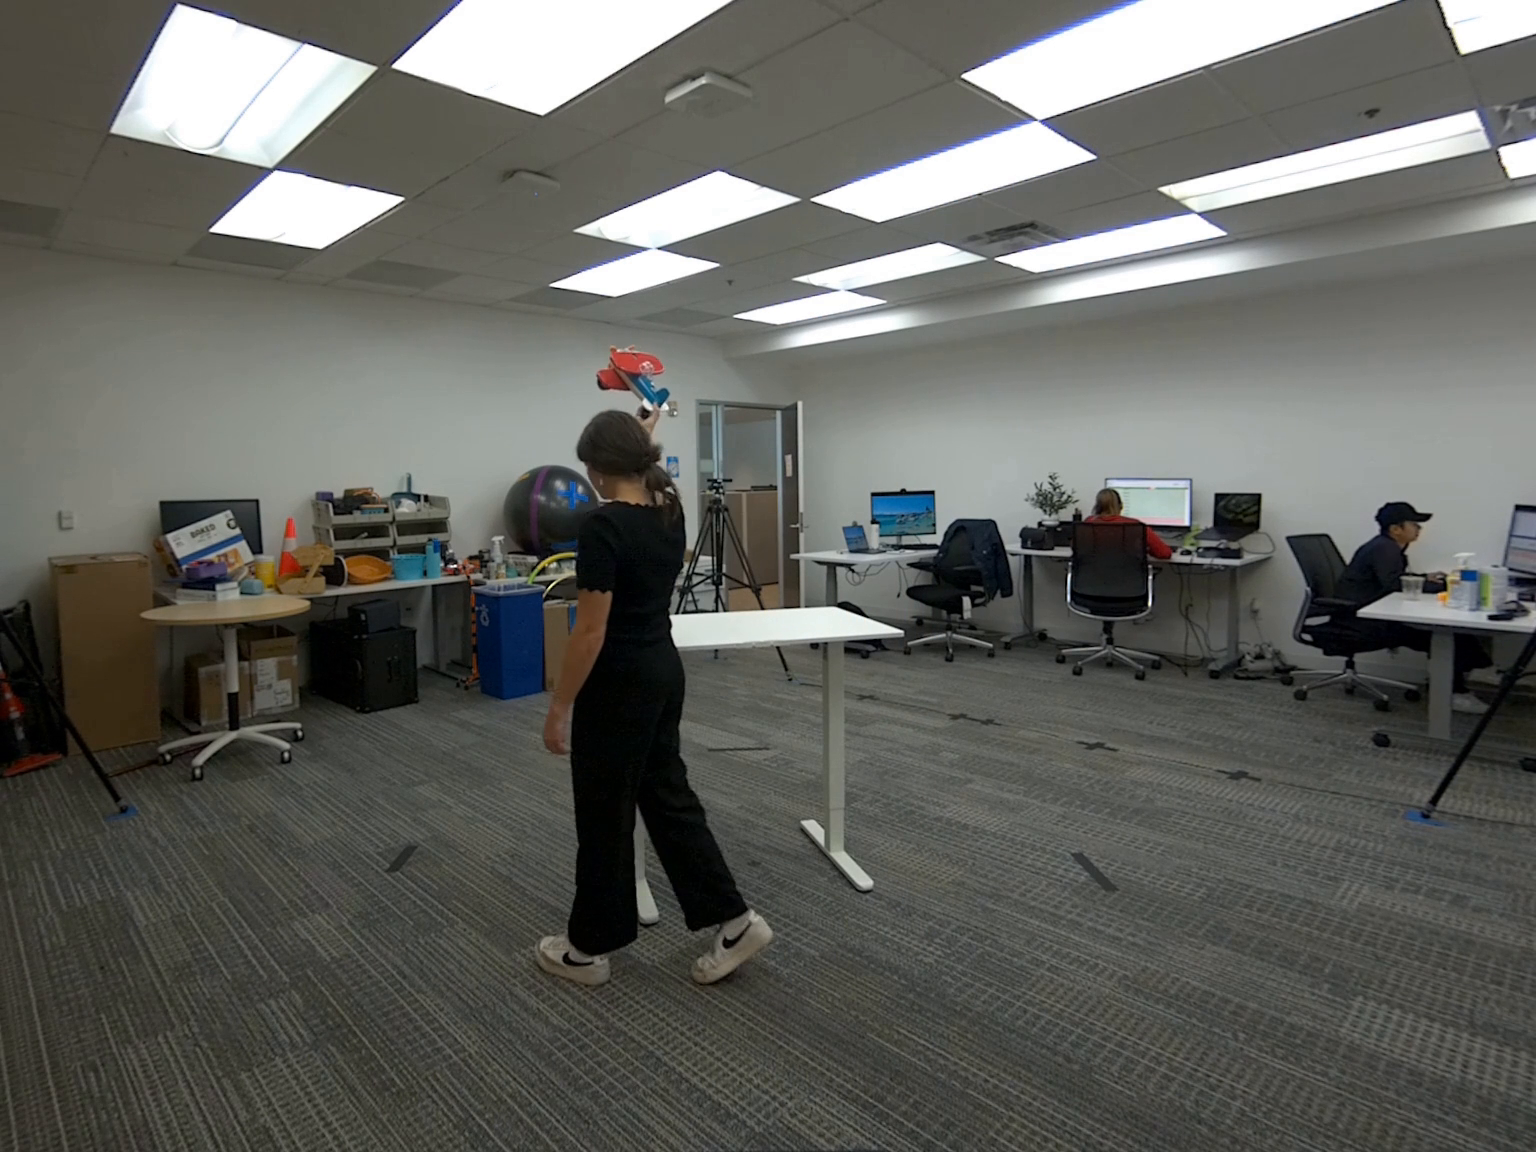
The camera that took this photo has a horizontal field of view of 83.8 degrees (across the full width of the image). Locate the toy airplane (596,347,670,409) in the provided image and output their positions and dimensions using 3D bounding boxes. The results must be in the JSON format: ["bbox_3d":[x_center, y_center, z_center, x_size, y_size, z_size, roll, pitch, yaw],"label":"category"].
[{"bbox_3d":[-0.434,-0.642,2.862,0.257,0.155,0.255,27,26,-6],"label":"toy airplane"}]
